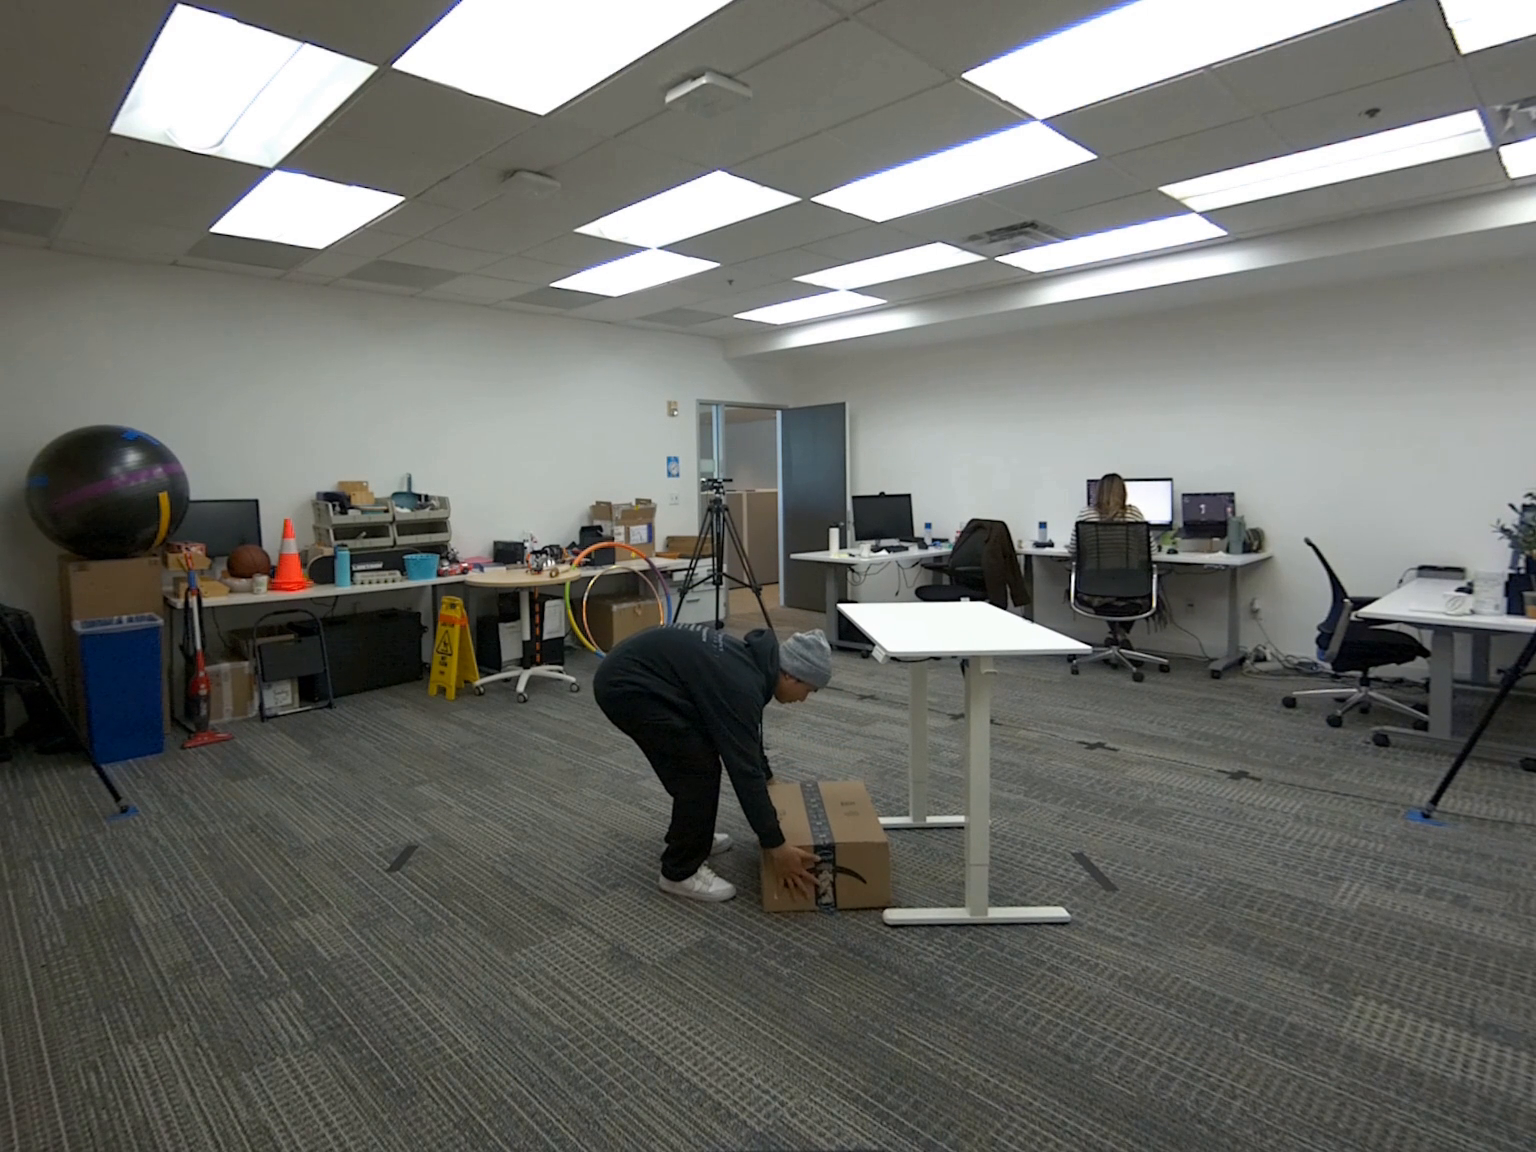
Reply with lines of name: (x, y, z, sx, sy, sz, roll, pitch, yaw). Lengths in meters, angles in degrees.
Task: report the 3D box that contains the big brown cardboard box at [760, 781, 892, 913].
big brown cardboard box: (0.177, 0.936, 3.021, 0.417, 0.232, 0.592, -3, 7, -1)
